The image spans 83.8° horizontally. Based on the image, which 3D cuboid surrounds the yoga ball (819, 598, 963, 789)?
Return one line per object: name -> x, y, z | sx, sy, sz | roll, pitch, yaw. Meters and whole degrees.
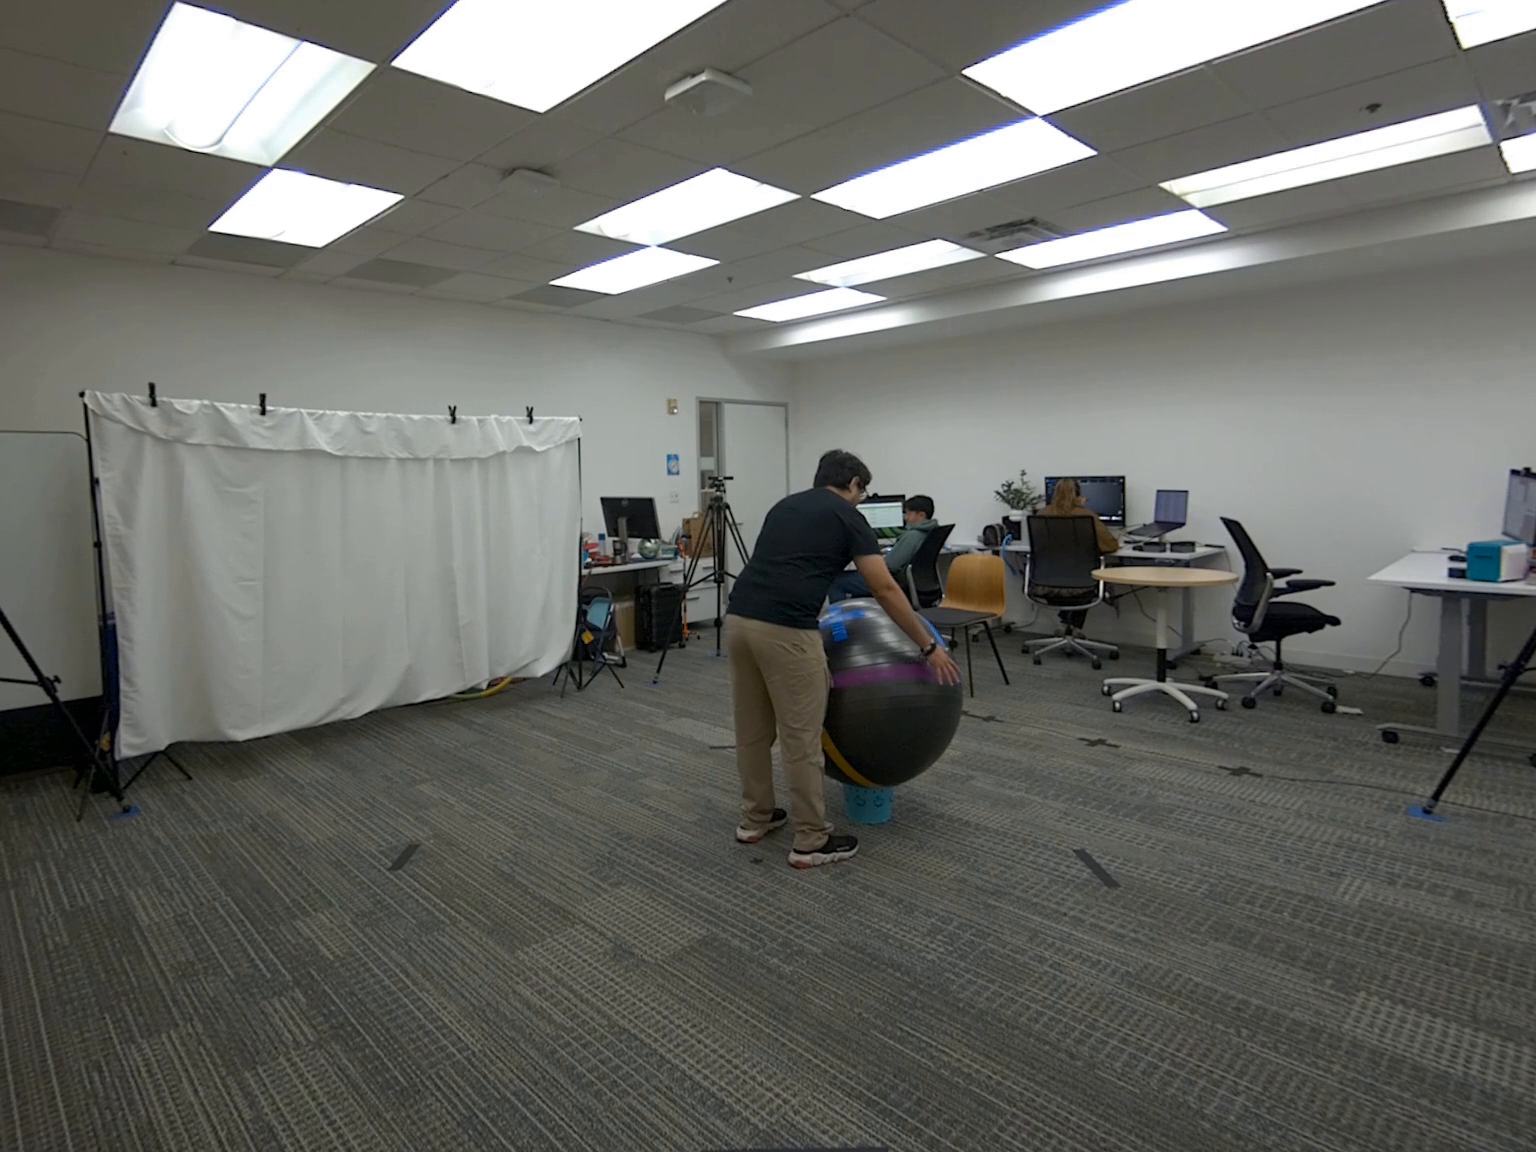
yoga ball -> 0.411, 0.478, 3.503 | 0.757, 0.755, 0.762 | -1, 5, -2
